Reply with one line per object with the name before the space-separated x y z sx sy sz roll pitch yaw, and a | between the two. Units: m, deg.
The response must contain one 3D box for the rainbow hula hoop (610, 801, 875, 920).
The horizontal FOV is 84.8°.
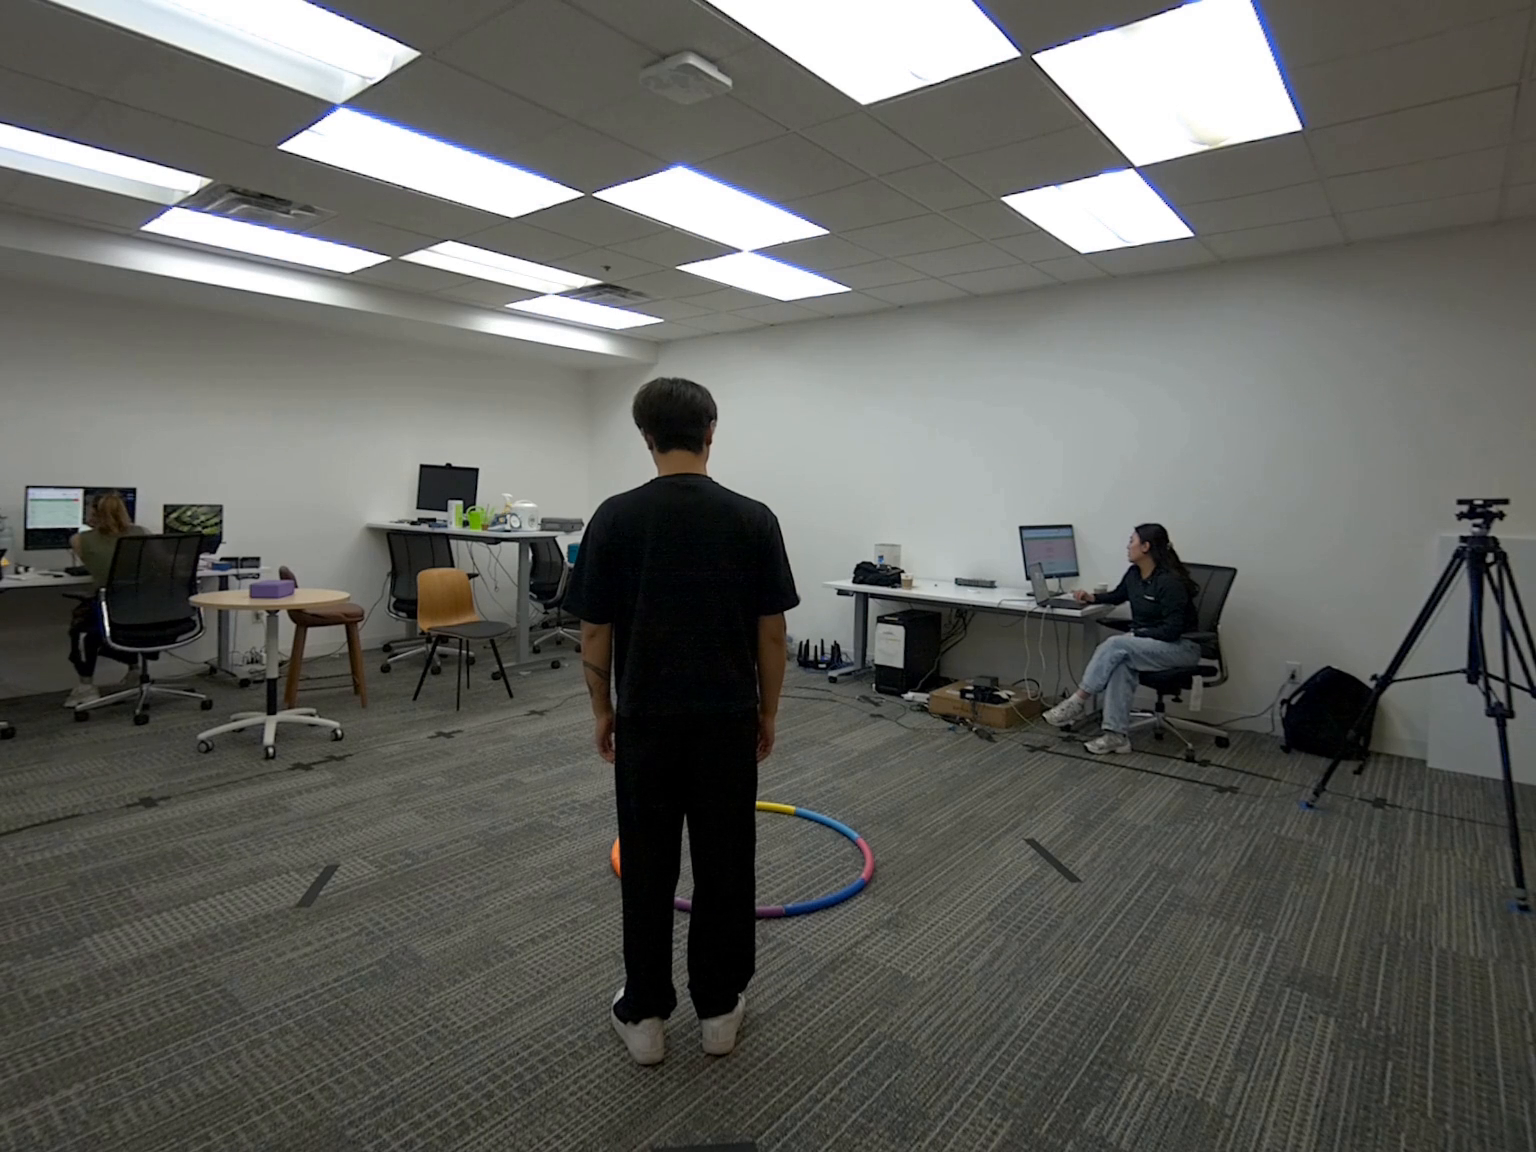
rainbow hula hoop | -0.105 1.029 3.233 0.978 0.035 0.984 1 6 -2
